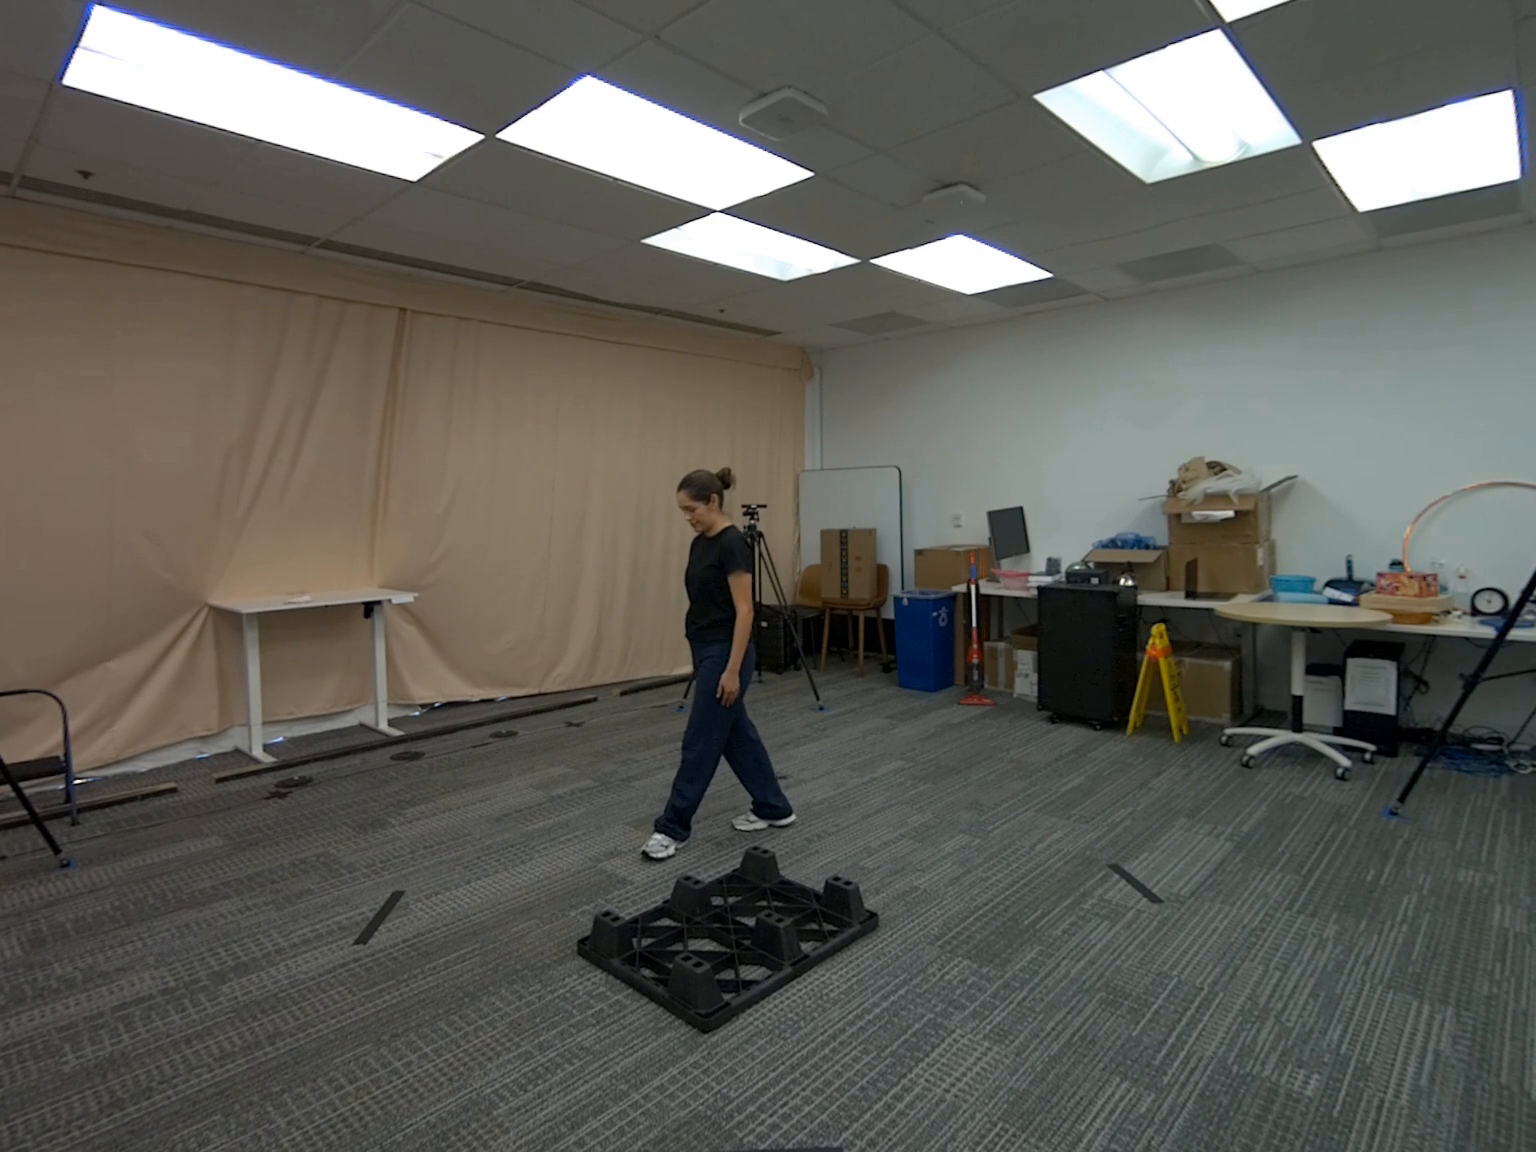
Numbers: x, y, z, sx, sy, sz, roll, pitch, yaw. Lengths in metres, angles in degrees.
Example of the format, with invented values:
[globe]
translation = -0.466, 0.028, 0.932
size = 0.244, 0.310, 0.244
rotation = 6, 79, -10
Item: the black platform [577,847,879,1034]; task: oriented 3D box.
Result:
[black platform]
translation = -0.100, 1.100, 2.696
size = 0.625, 0.143, 0.781
rotation = 3, 7, 44
